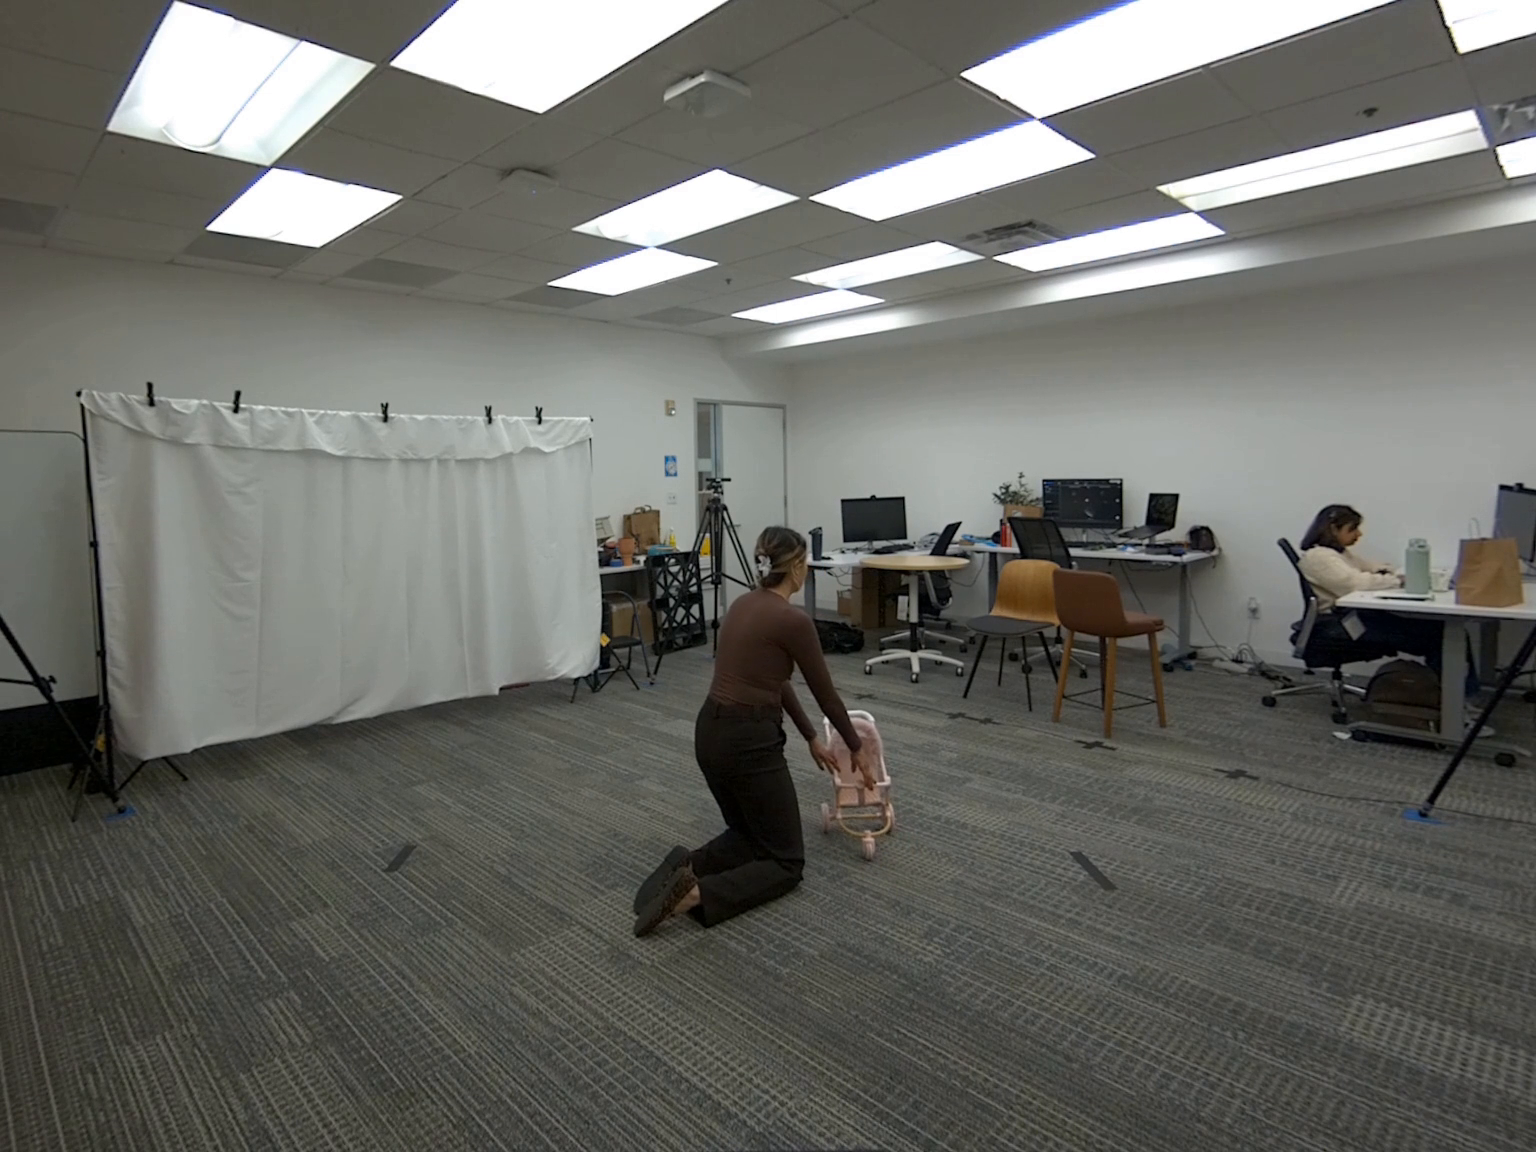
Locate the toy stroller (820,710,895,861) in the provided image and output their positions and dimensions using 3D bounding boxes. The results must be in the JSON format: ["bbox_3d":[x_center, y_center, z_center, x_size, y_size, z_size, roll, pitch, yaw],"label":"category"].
[{"bbox_3d":[0.342,0.786,3.296,0.282,0.541,0.337,-3,-12,1],"label":"toy stroller"}]
